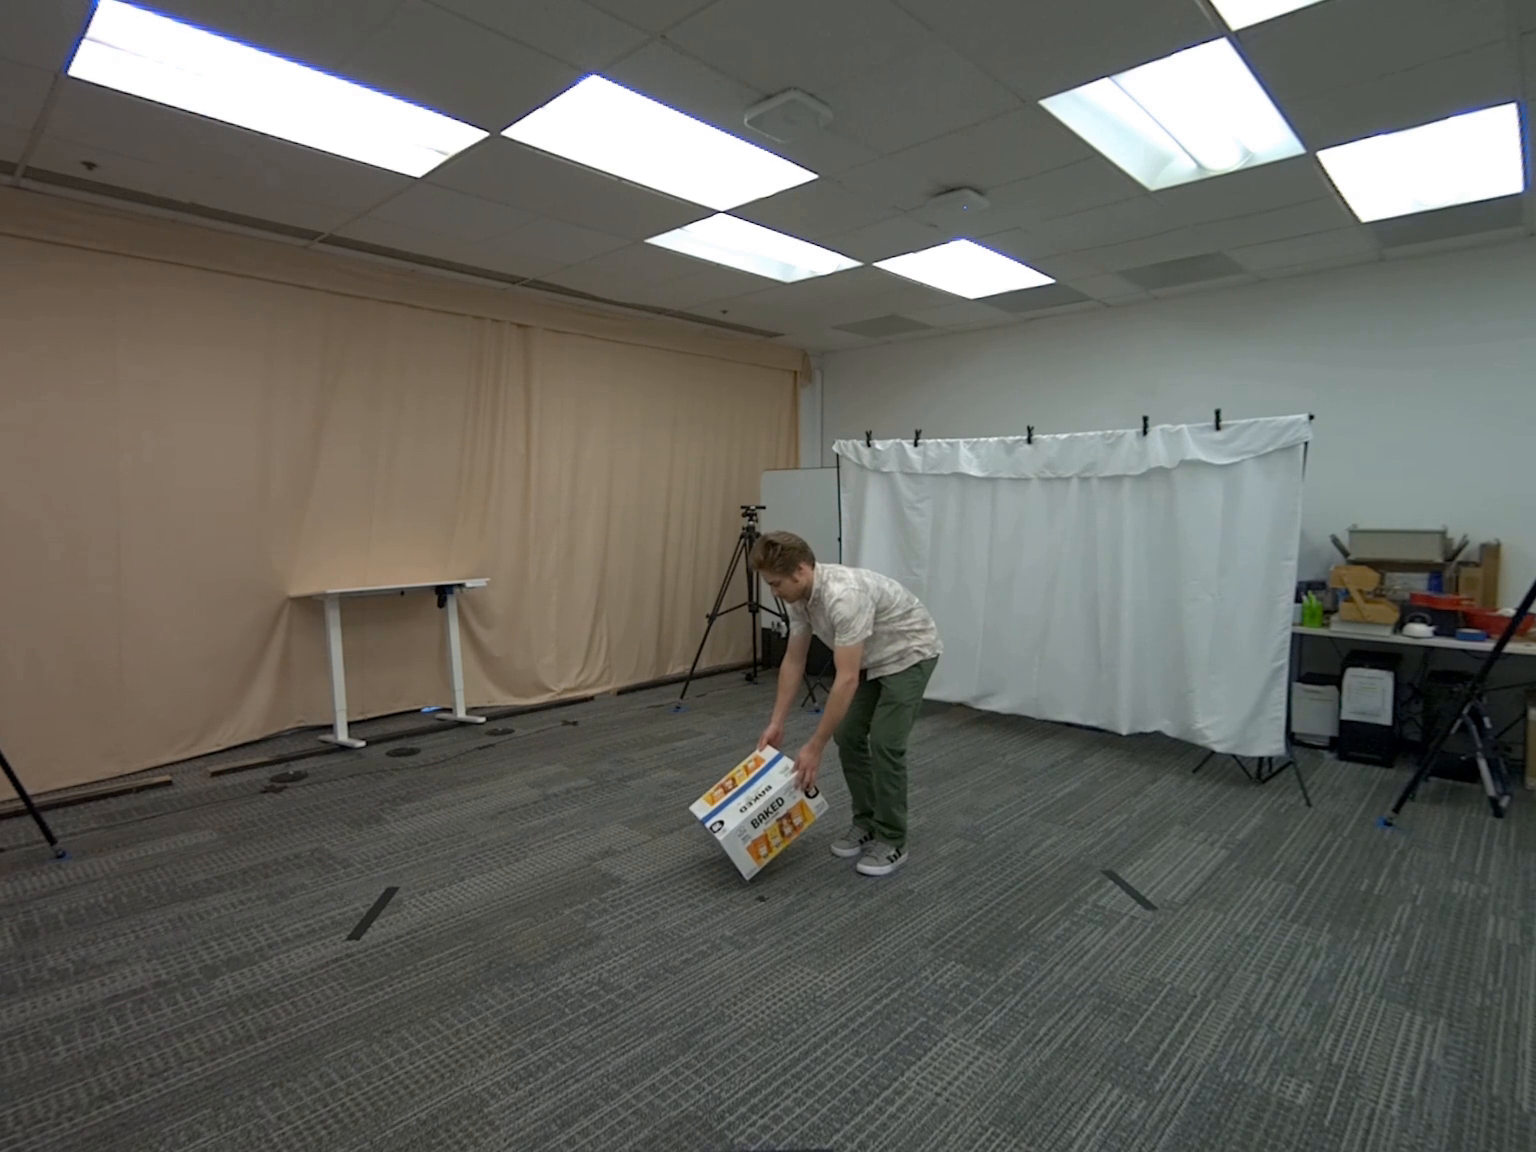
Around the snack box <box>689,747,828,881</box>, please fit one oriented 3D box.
[{"bbox_3d":[-0.034,0.886,3.216,0.402,0.202,0.349,-38,17,-16],"label":"snack box"}]
